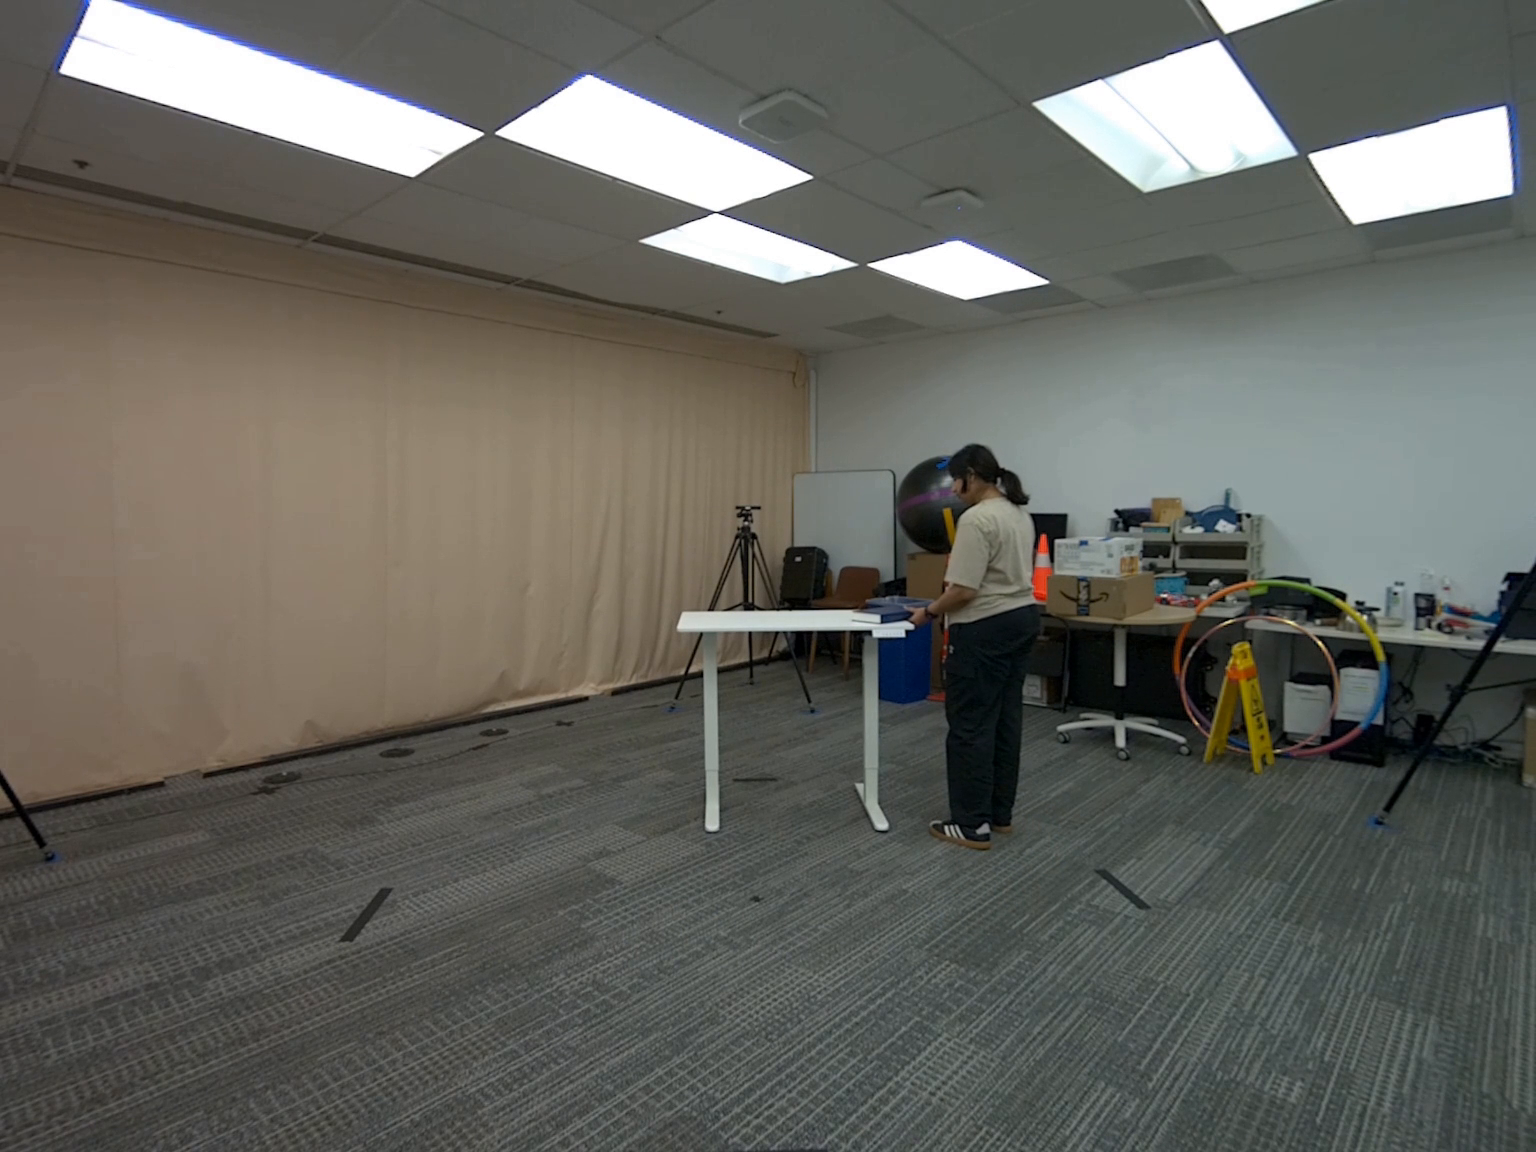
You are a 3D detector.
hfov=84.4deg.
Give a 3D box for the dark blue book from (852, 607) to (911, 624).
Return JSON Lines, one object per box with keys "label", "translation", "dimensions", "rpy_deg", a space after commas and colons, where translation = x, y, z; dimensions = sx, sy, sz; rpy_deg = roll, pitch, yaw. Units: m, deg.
{"label": "dark blue book", "translation": [0.534, 0.179, 3.750], "dimensions": [0.237, 0.045, 0.169], "rpy_deg": [-4, 6, -41]}
